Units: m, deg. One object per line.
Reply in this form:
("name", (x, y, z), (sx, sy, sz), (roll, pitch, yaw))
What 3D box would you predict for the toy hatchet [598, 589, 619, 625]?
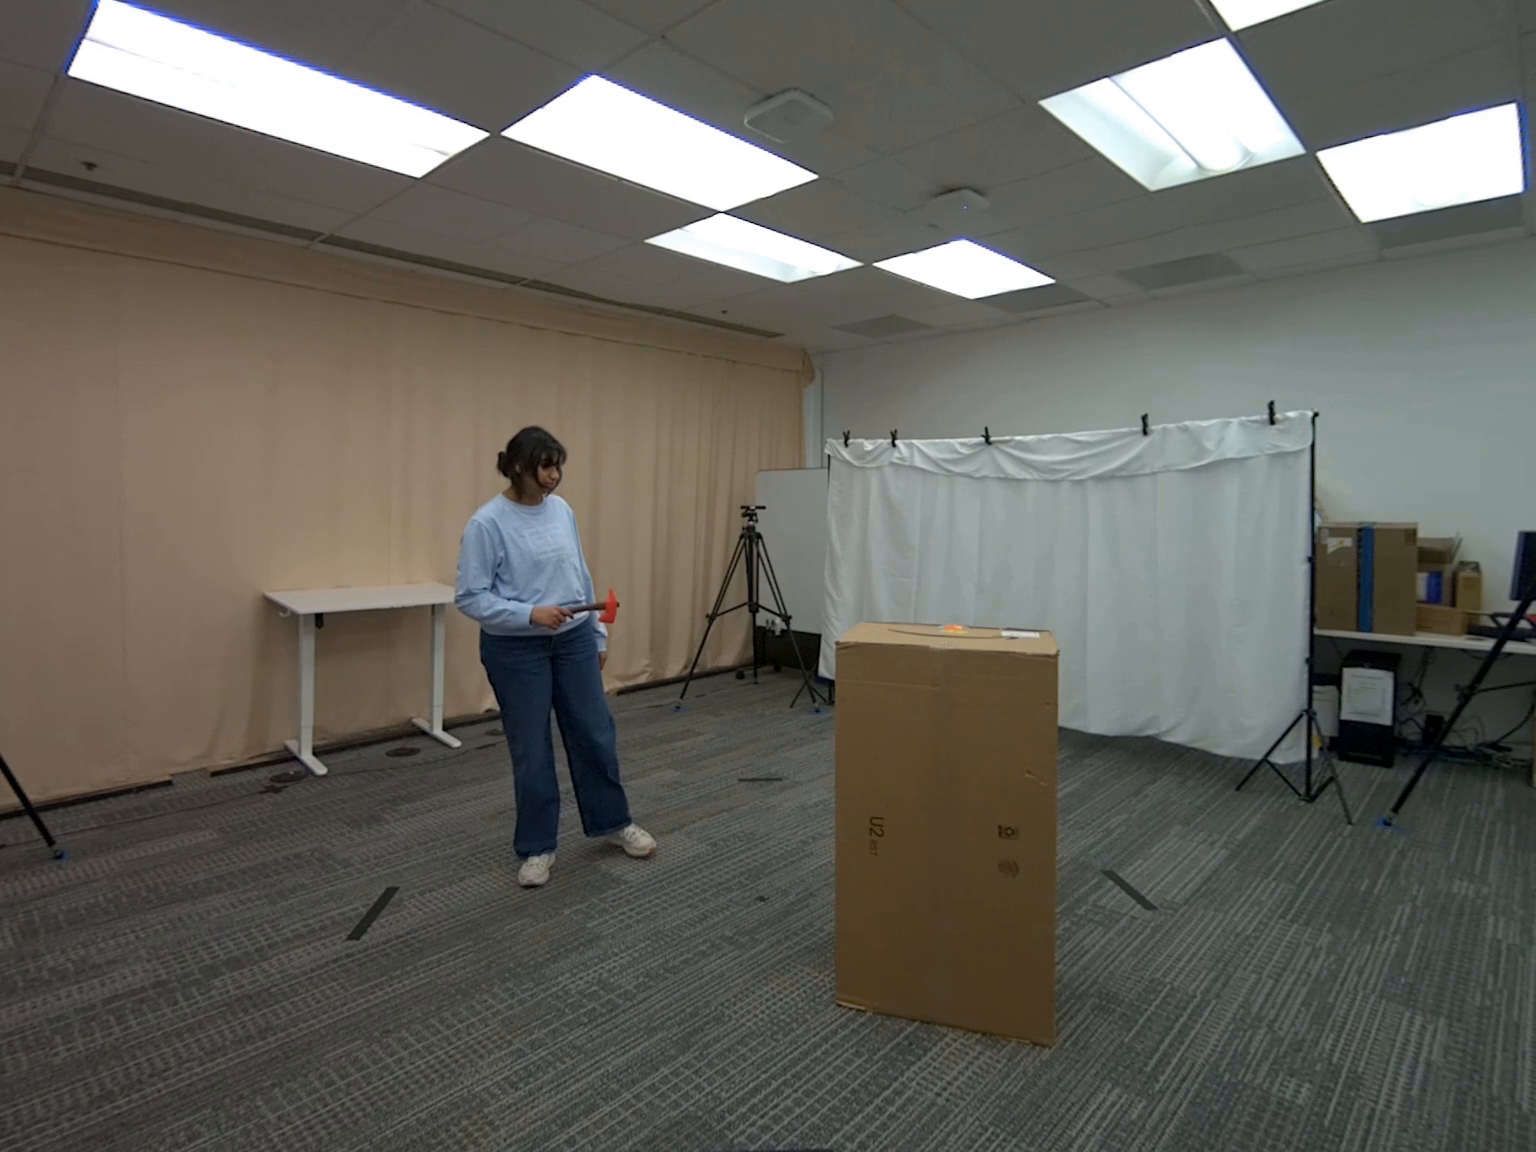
("toy hatchet", (-0.677, 0.144, 3.024), (0.266, 0.128, 0.030), (-21, 28, -19))
